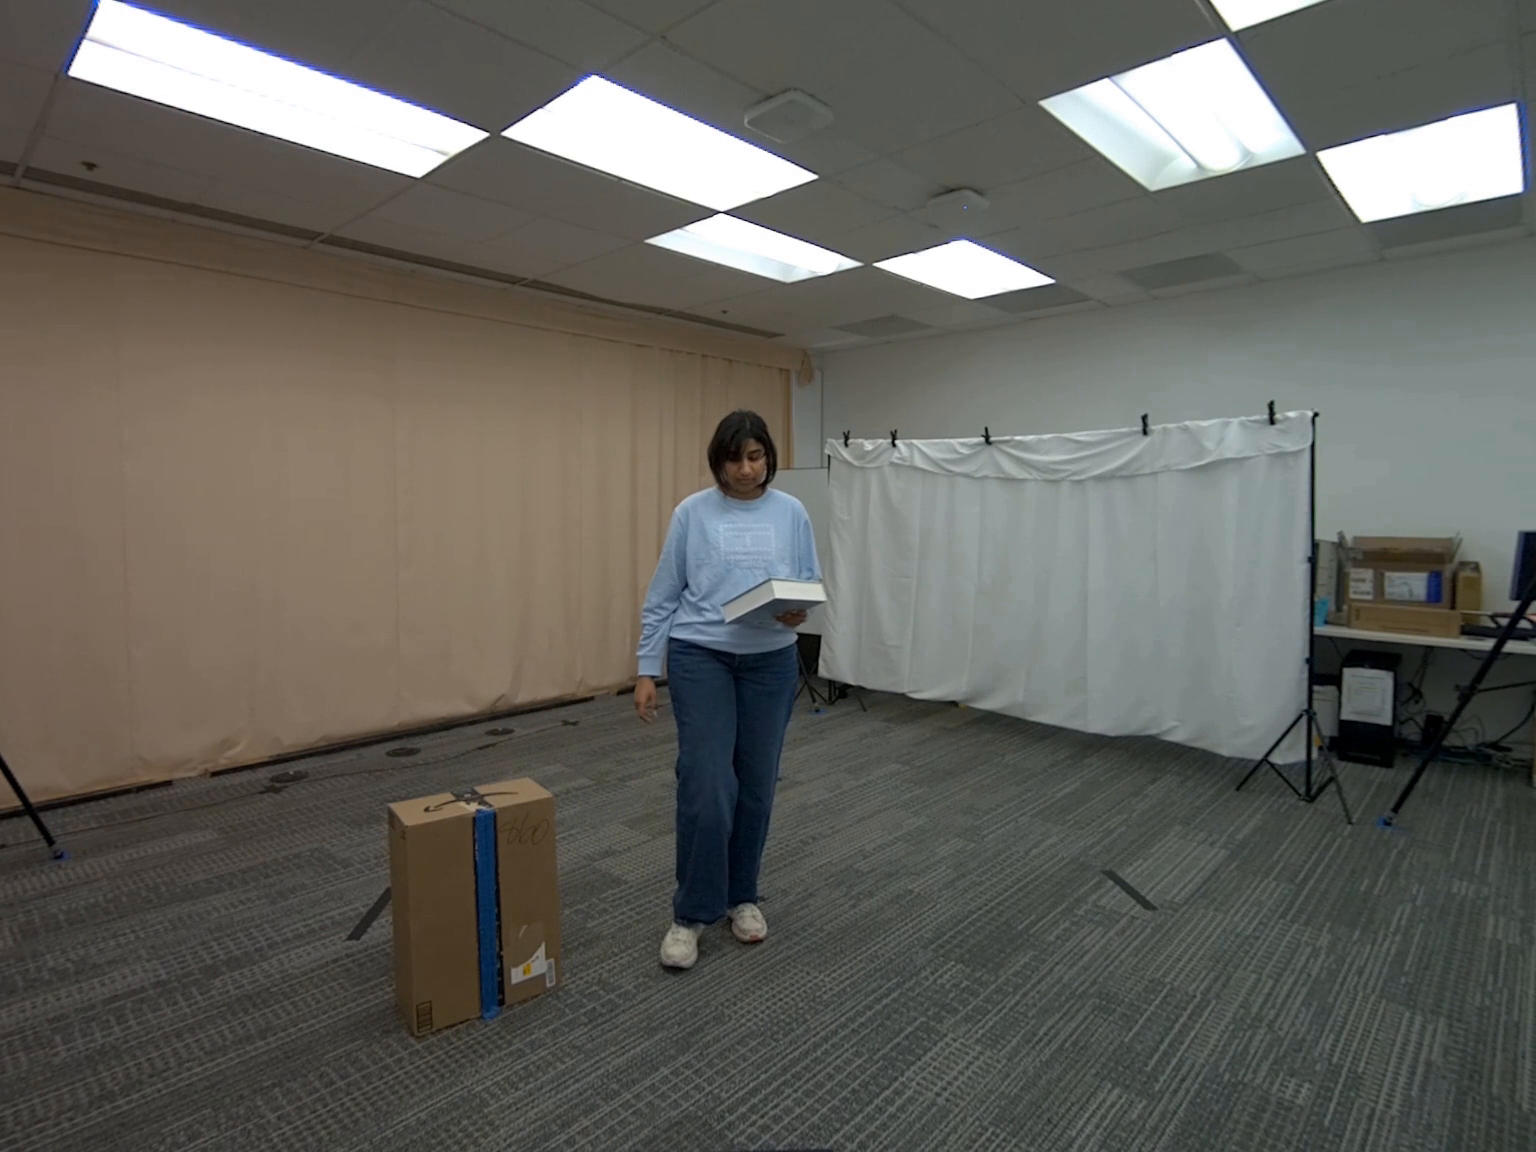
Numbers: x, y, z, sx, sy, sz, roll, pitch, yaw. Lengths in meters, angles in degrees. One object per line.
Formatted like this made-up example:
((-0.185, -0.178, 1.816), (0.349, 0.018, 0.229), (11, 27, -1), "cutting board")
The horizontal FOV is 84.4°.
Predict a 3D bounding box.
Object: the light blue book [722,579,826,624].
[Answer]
((0.000, 0.082, 2.440), (0.185, 0.060, 0.265), (5, -22, -35), "light blue book")
